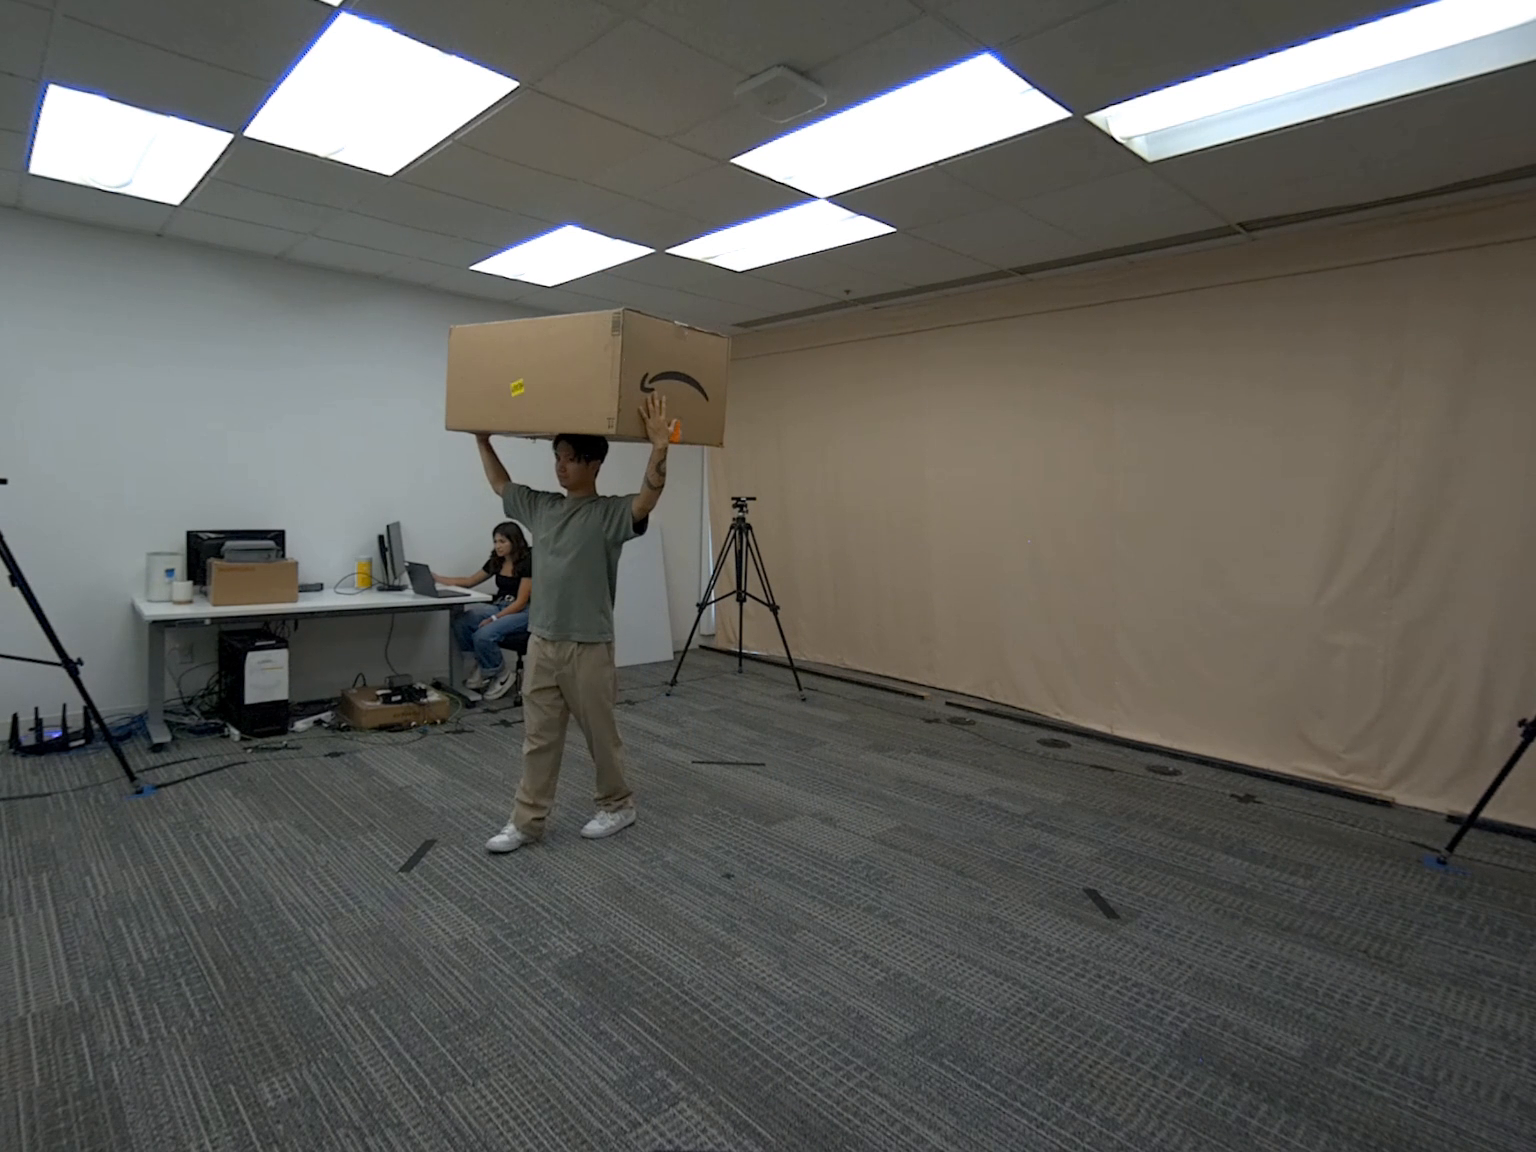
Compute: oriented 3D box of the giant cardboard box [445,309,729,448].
[{"bbox_3d":[-0.737,-0.760,3.347,1.052,0.425,0.565,9,7,37],"label":"giant cardboard box"}]
